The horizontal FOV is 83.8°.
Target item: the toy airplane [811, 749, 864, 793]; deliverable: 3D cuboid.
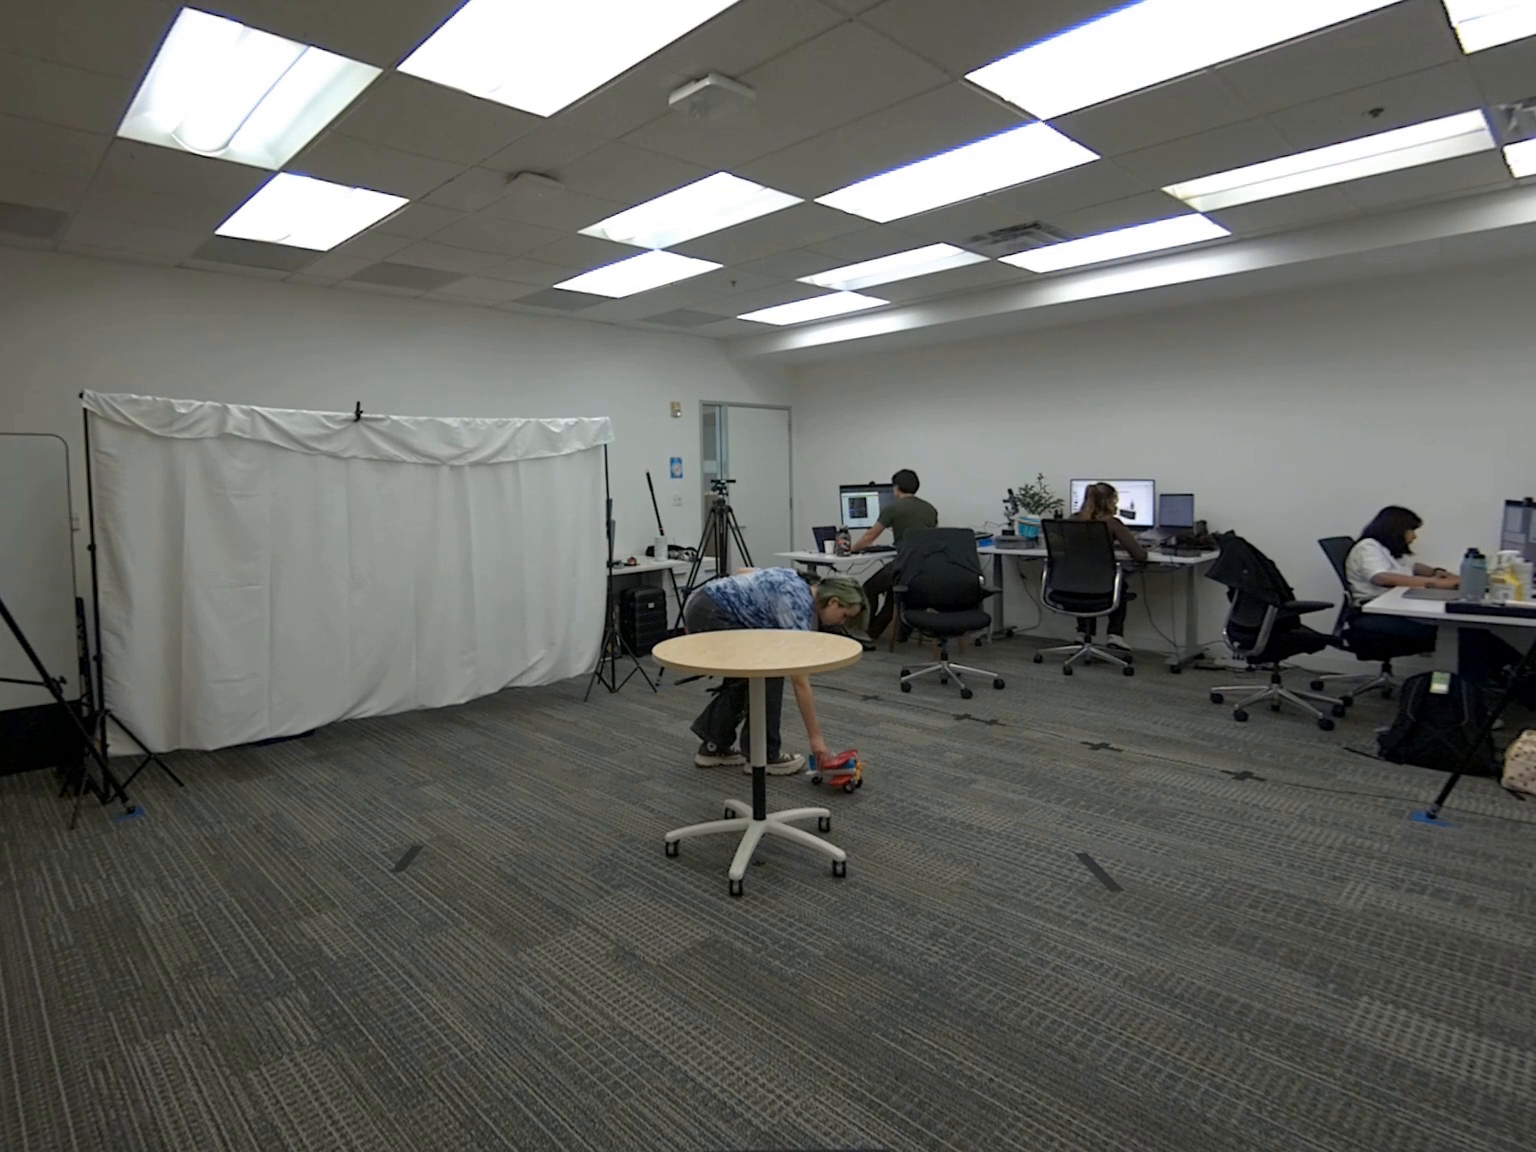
[{"bbox_3d":[0.298,0.886,3.858,0.260,0.156,0.251,1,4,2],"label":"toy airplane"}]
